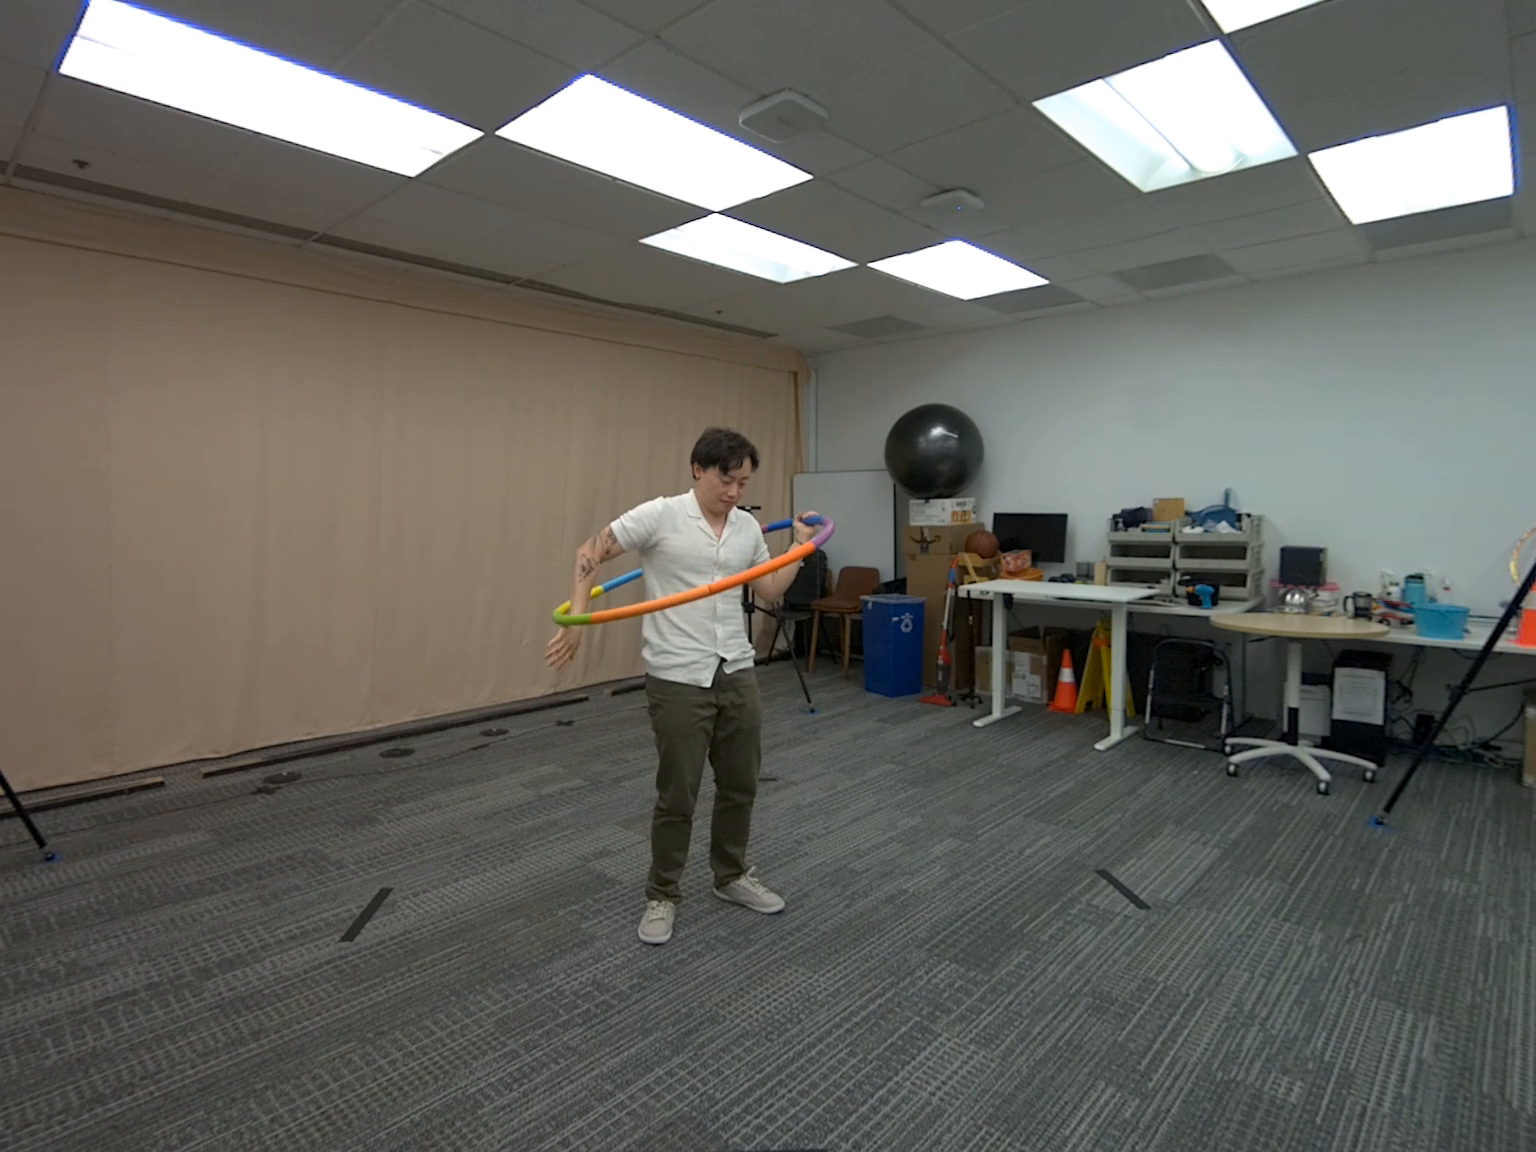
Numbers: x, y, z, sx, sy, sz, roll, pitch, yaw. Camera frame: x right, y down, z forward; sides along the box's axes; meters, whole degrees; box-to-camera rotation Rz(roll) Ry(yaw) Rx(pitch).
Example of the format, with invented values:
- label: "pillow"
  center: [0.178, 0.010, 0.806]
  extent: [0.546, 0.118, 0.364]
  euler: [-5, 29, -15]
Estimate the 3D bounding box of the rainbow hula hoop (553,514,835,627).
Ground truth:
- label: "rainbow hula hoop"
  center: [-0.239, -0.028, 2.824]
  extent: [0.980, 0.035, 0.985]
  euler: [-19, 10, 1]
